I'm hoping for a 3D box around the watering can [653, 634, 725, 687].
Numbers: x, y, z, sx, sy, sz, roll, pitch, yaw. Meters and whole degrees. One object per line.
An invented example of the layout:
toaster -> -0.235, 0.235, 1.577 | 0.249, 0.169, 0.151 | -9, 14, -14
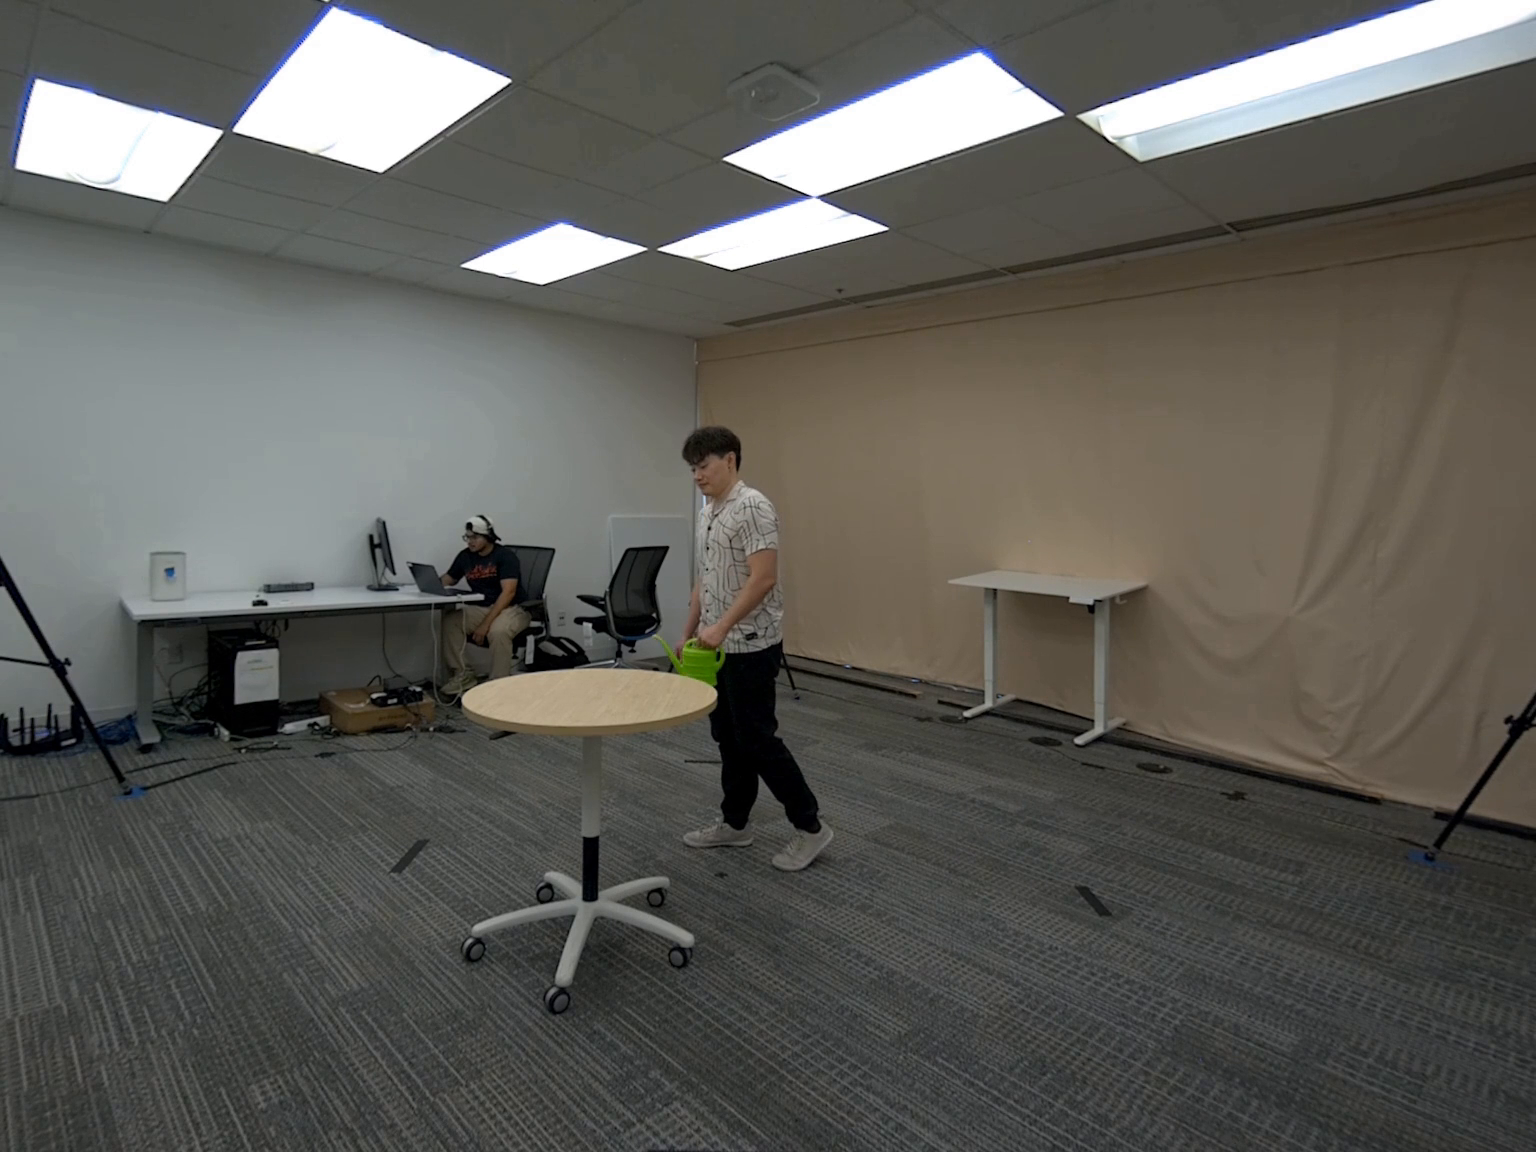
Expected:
watering can -> -0.303, 0.306, 3.093 | 0.284, 0.176, 0.096 | 4, 5, 26
